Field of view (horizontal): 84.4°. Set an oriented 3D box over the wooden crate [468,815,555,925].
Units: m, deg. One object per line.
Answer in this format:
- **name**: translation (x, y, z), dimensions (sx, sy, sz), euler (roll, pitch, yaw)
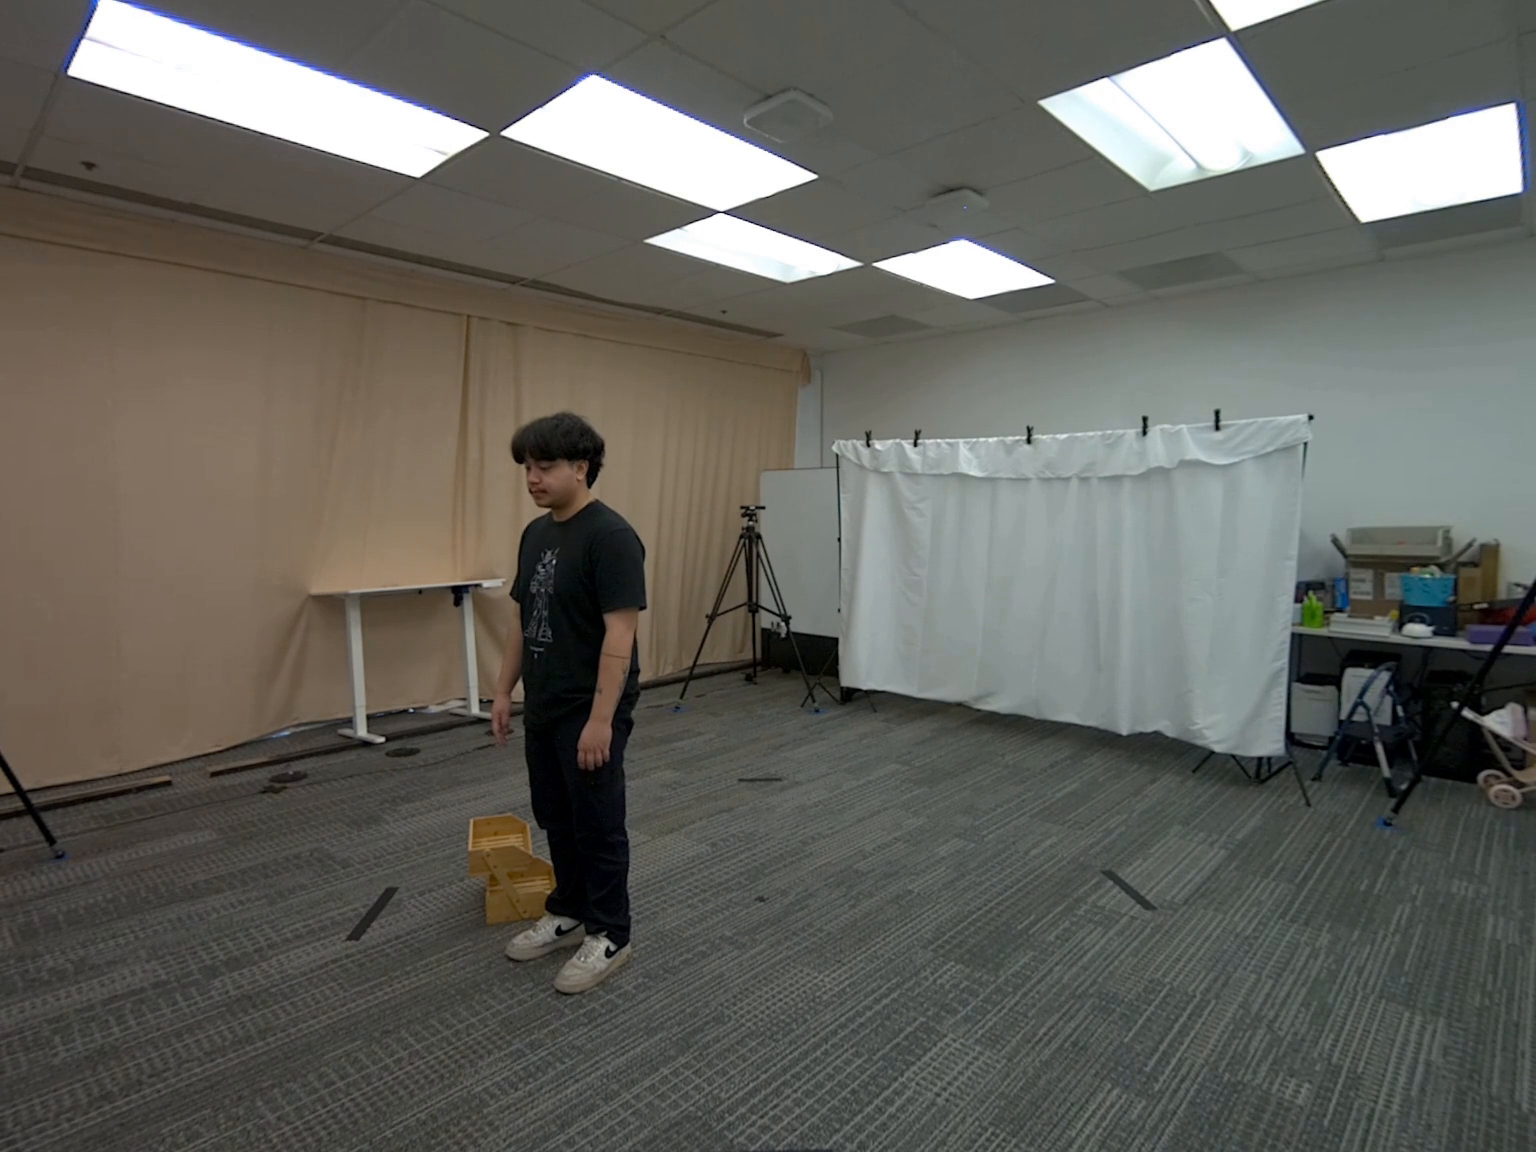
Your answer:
- **wooden crate**: translation (-0.897, 1.017, 2.976), dimensions (0.297, 0.273, 0.331), euler (-2, 4, -18)
